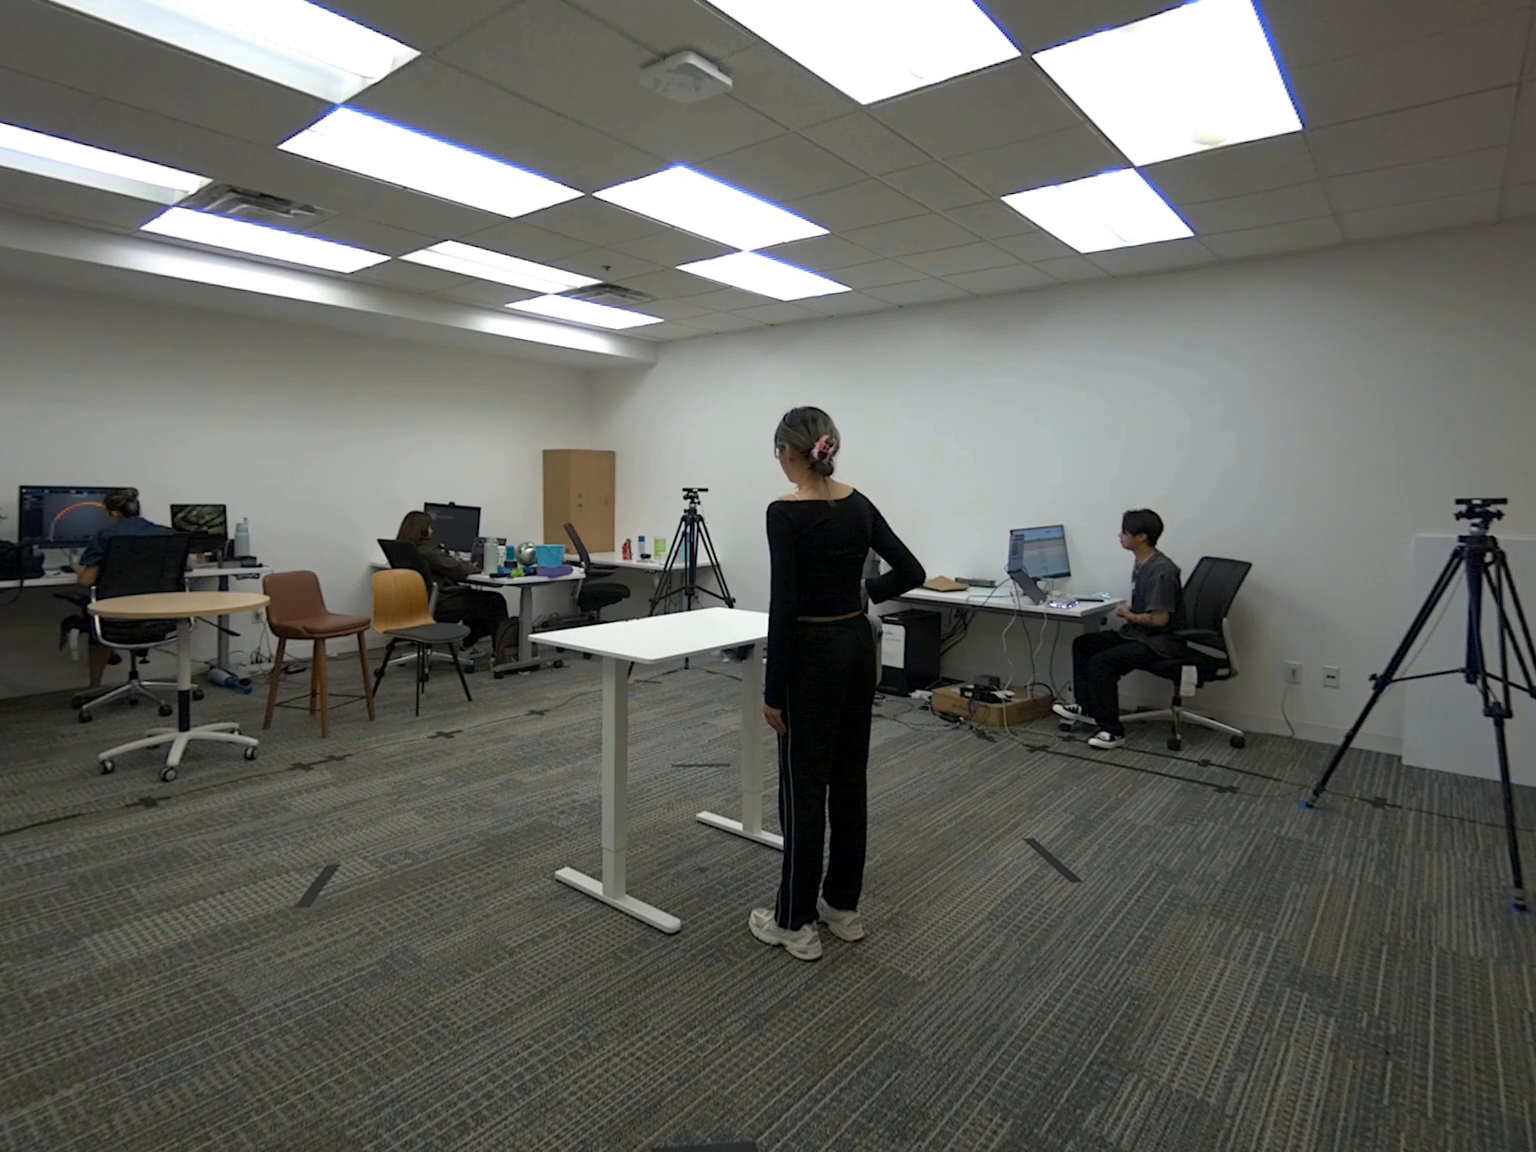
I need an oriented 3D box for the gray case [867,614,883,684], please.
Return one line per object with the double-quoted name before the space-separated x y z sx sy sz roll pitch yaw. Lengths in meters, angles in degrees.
"gray case" 0.249 0.240 2.886 0.266 0.257 0.102 11 16 35
